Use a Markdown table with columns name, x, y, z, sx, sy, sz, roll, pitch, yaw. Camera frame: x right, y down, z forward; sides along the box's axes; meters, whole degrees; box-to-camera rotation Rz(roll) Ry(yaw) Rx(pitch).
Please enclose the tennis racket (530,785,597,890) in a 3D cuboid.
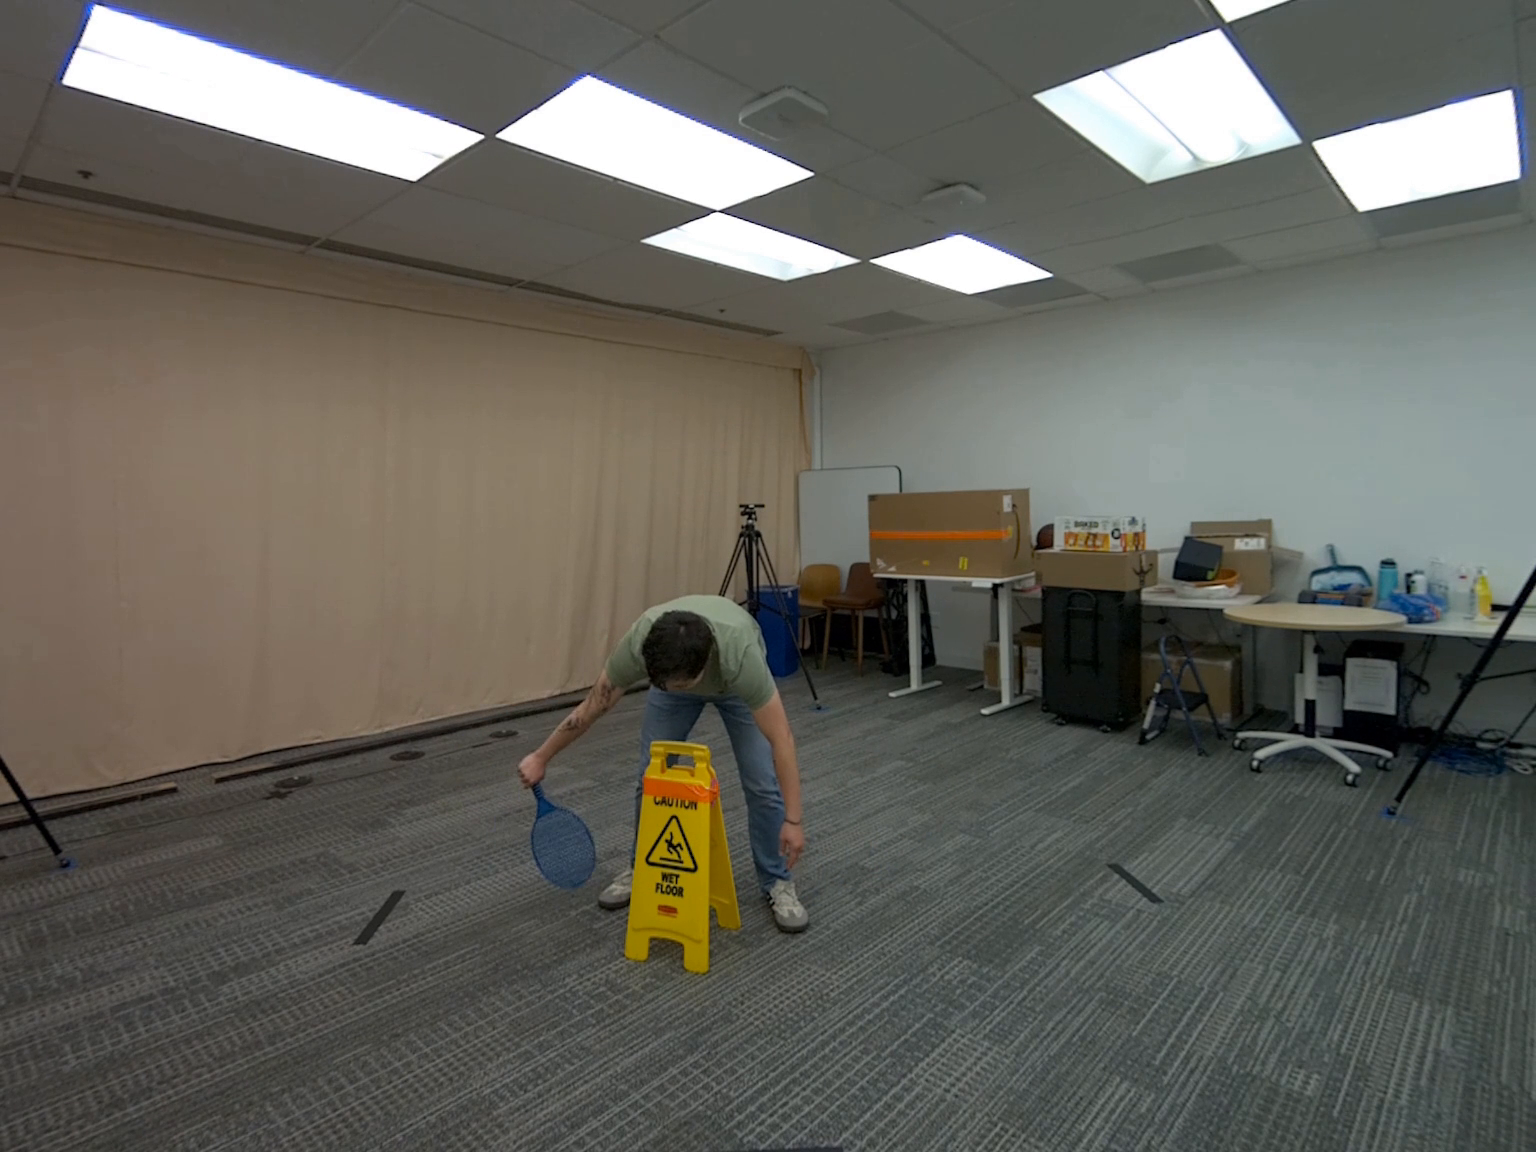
| name | x | y | z | sx | sy | sz | roll | pitch | yaw |
| --- | --- | --- | --- | --- | --- | --- | --- | --- | --- |
| tennis racket | -0.714 | 0.830 | 2.795 | 0.215 | 0.438 | 0.031 | -30 | -10 | 10 |
